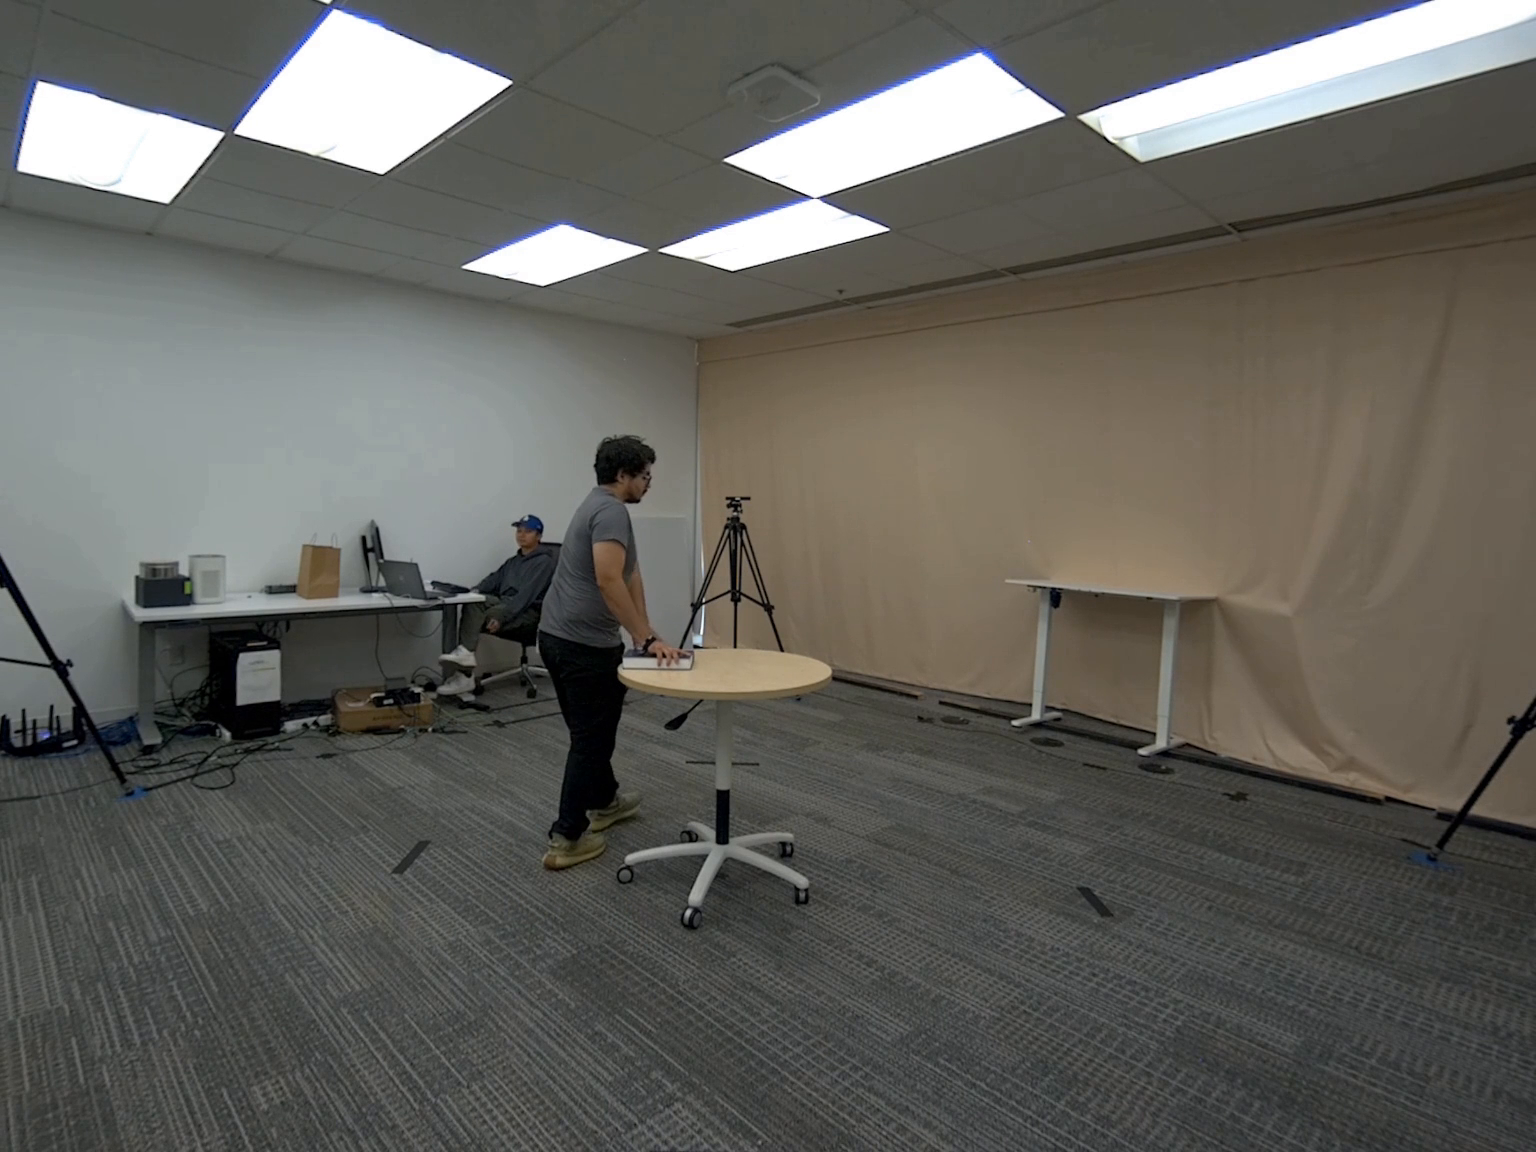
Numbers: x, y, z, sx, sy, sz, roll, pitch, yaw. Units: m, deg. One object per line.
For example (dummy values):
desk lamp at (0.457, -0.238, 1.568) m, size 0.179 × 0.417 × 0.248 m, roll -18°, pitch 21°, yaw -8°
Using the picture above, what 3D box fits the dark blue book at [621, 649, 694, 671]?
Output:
dark blue book at (-0.402, 0.305, 3.063) m, size 0.245 × 0.045 × 0.163 m, roll 0°, pitch 5°, yaw 2°
